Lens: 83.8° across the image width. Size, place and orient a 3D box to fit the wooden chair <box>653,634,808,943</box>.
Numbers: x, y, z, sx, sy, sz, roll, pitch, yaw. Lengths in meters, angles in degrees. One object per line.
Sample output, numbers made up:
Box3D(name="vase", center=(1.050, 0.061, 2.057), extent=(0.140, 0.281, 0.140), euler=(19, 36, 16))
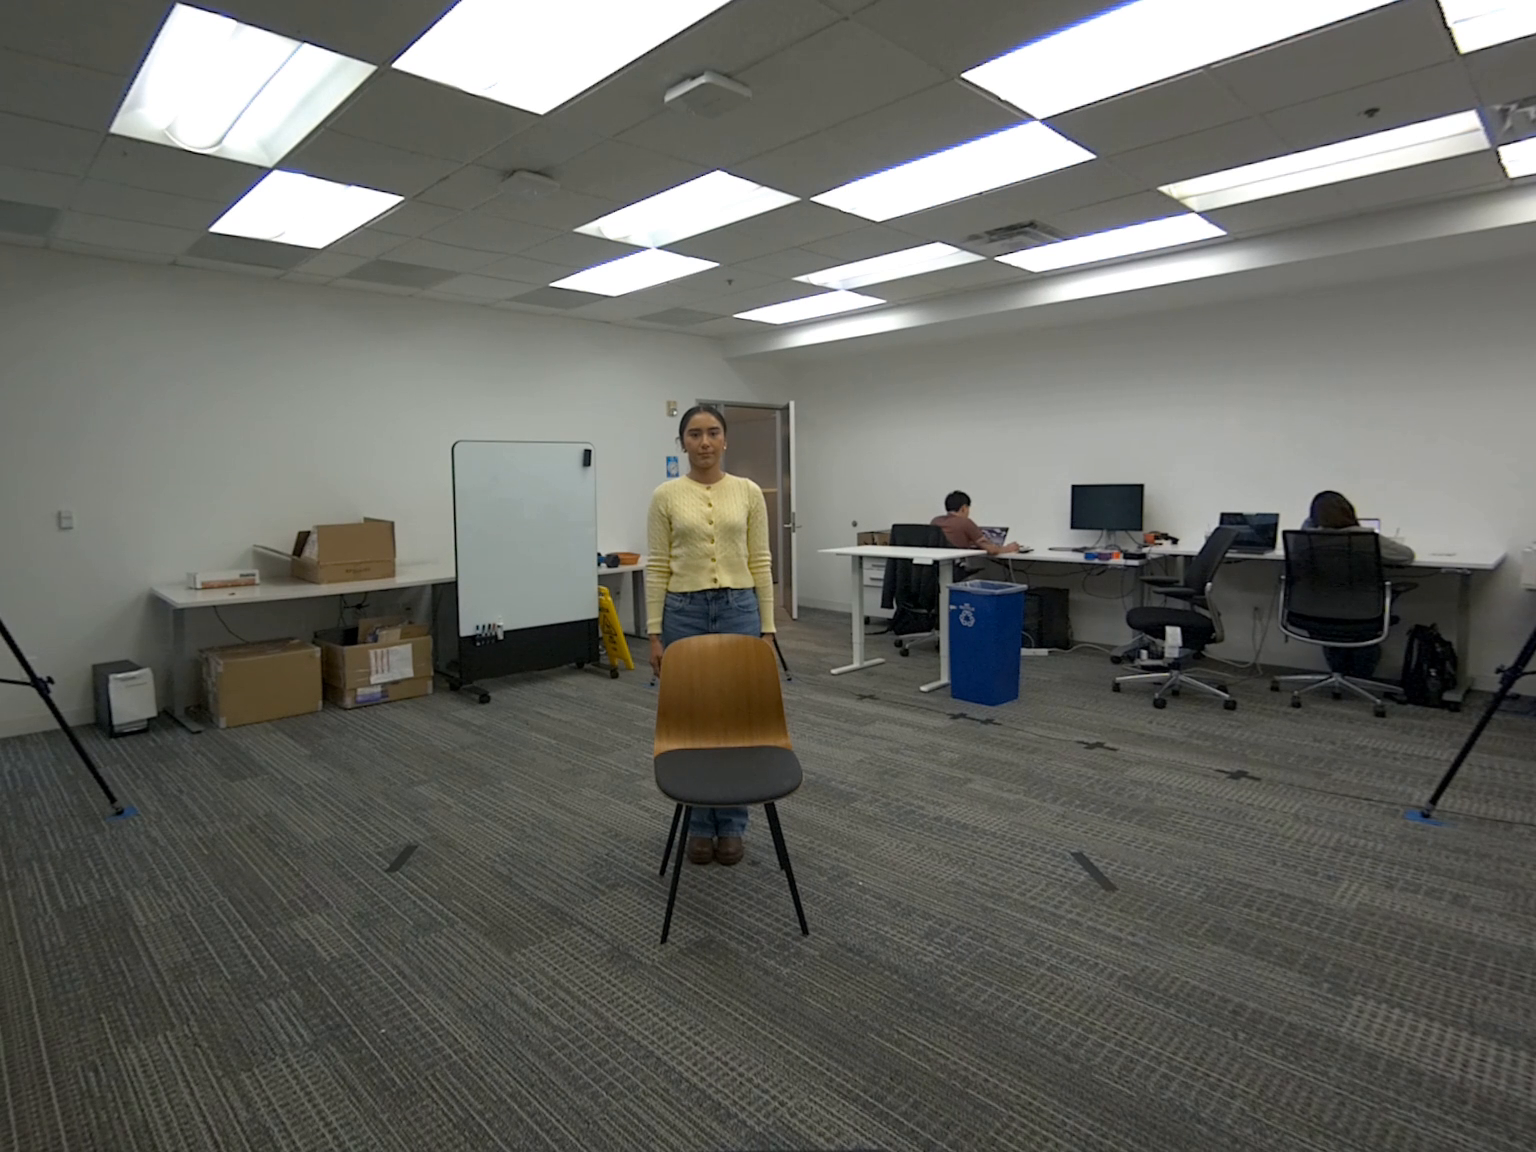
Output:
Box3D(name="wooden chair", center=(-0.137, 0.660, 2.770), extent=(0.475, 0.877, 0.526), euler=(-1, 0, -7))
